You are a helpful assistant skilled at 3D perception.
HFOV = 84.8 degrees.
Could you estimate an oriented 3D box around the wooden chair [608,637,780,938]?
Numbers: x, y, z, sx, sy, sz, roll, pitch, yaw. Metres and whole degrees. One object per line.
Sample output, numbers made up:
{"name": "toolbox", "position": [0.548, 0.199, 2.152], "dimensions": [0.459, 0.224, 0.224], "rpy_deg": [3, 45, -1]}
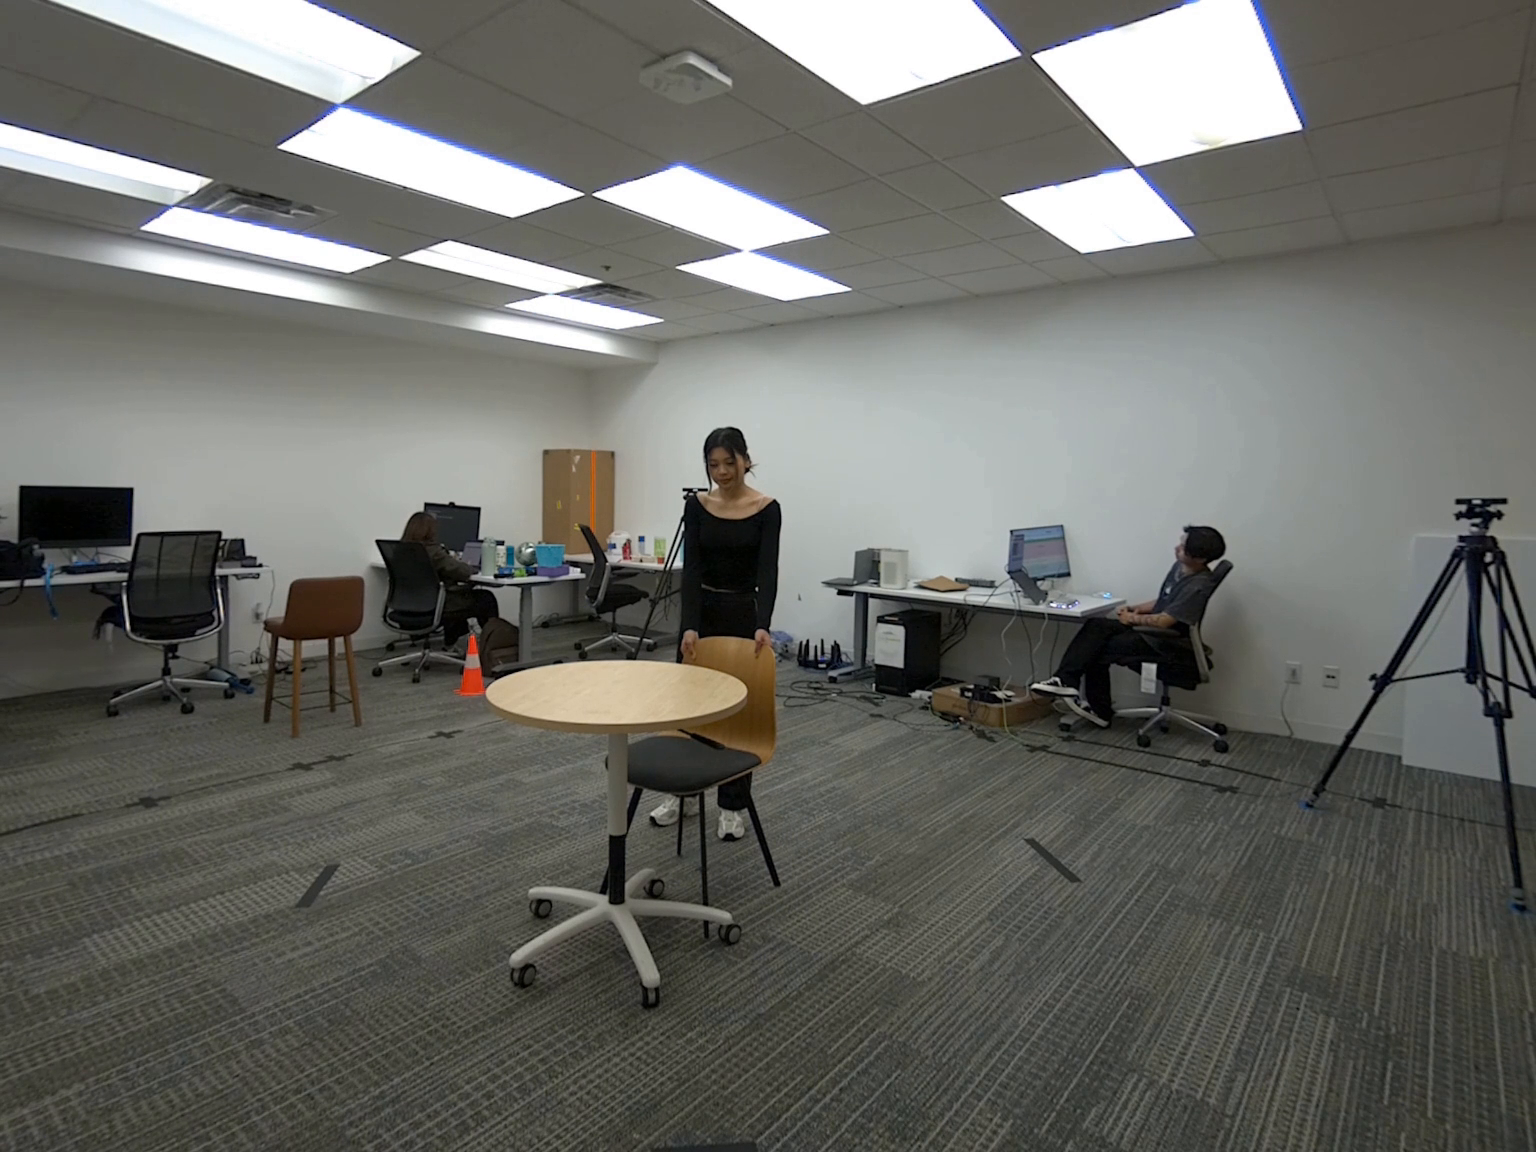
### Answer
{"name": "wooden chair", "position": [-0.260, 0.658, 2.902], "dimensions": [0.493, 0.878, 0.507], "rpy_deg": [4, 0, 33]}
